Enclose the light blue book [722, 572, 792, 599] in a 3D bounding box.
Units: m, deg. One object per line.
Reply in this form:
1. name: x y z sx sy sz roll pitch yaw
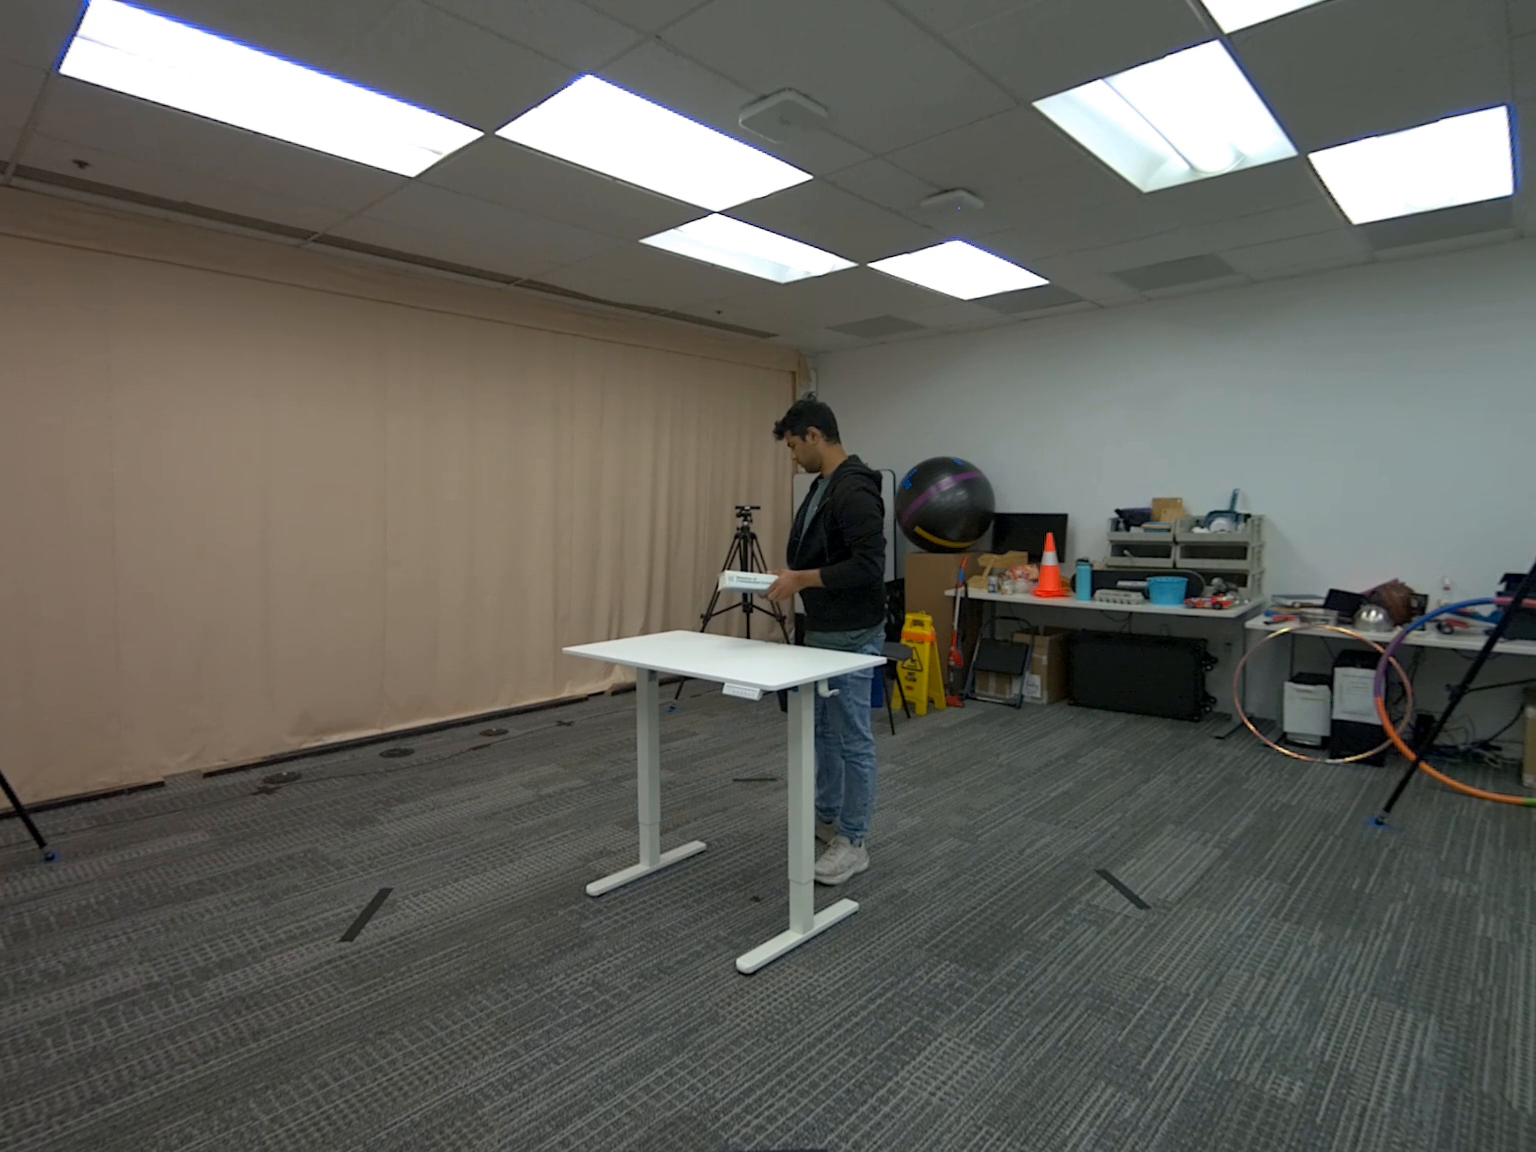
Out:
1. light blue book: -0.036 0.036 3.155 0.260 0.059 0.191 4 -8 -3
